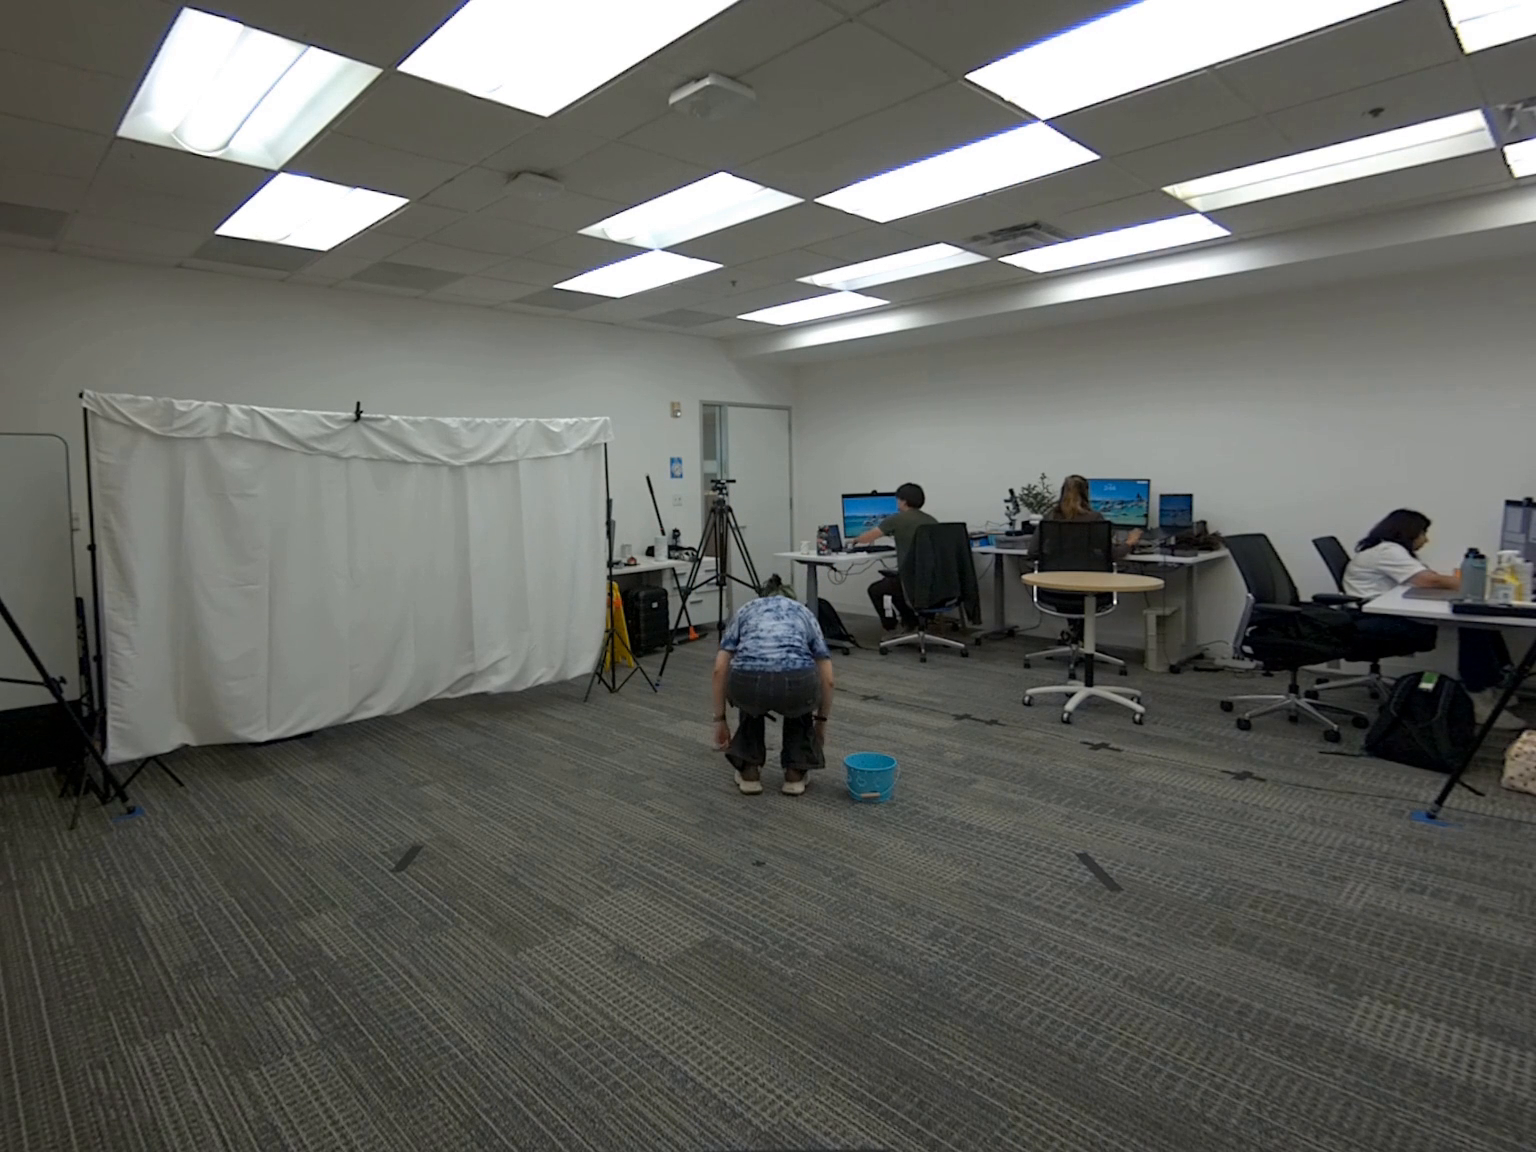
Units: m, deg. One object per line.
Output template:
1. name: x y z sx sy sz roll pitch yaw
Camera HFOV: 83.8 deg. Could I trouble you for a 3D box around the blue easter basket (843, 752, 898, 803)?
1. blue easter basket: 0.451 0.887 3.770 0.243 0.155 0.245 -1 5 -2
